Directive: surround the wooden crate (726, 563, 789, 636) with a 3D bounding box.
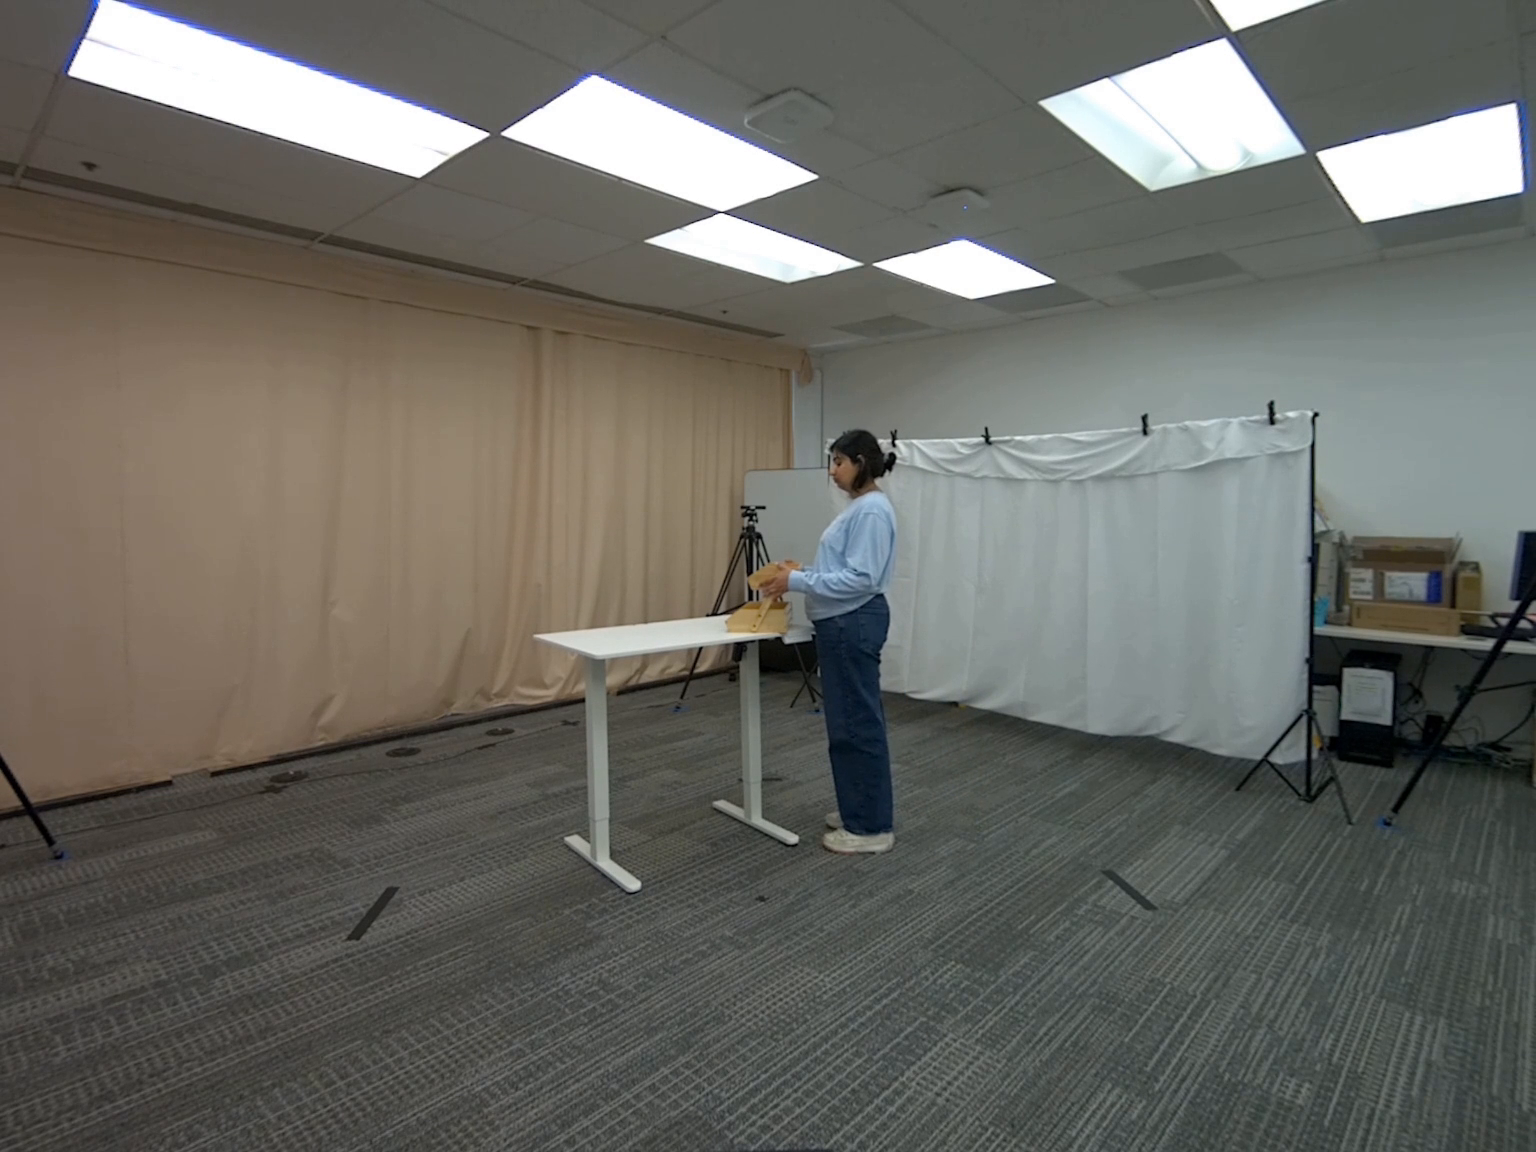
[{"bbox_3d":[-0.009,0.084,3.504,0.304,0.273,0.322,1,4,6],"label":"wooden crate"}]
